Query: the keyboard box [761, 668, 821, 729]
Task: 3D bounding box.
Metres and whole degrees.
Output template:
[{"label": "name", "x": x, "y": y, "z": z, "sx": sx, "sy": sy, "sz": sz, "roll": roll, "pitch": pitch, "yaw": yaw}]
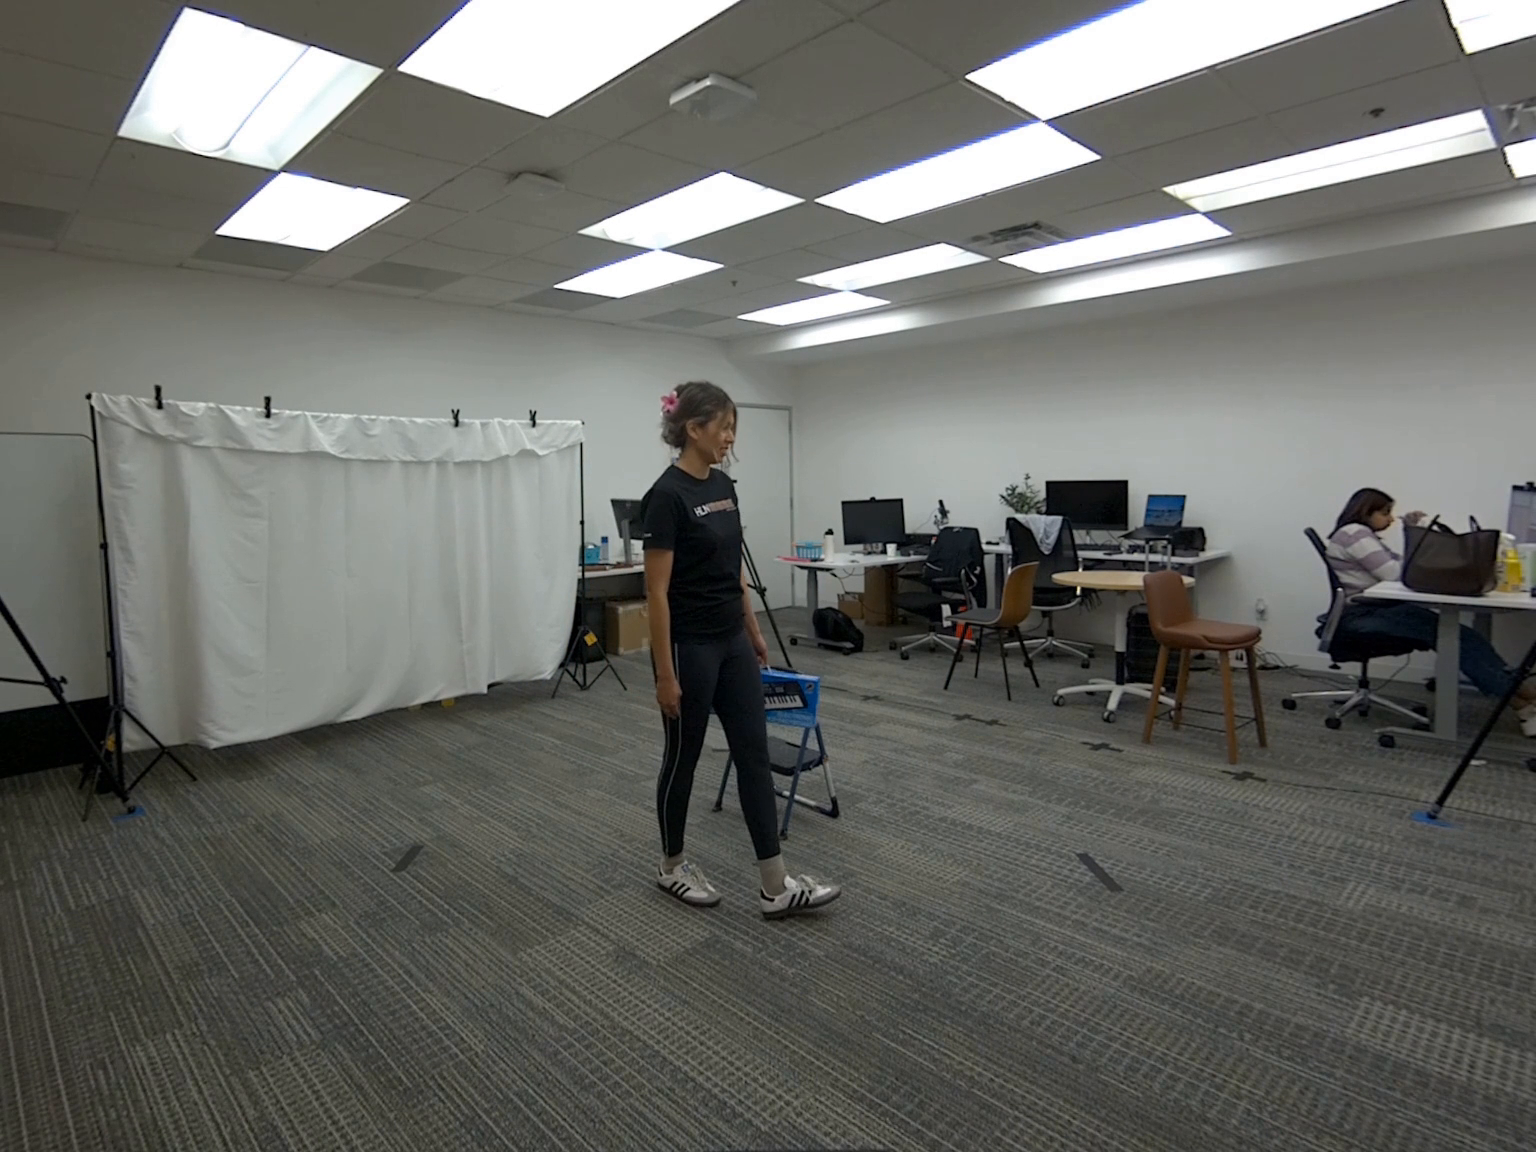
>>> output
[{"label": "keyboard box", "x": -0.037, "y": 0.421, "z": 3.033, "sx": 0.443, "sy": 0.175, "sz": 0.058, "roll": 5, "pitch": 4, "yaw": 13}]
